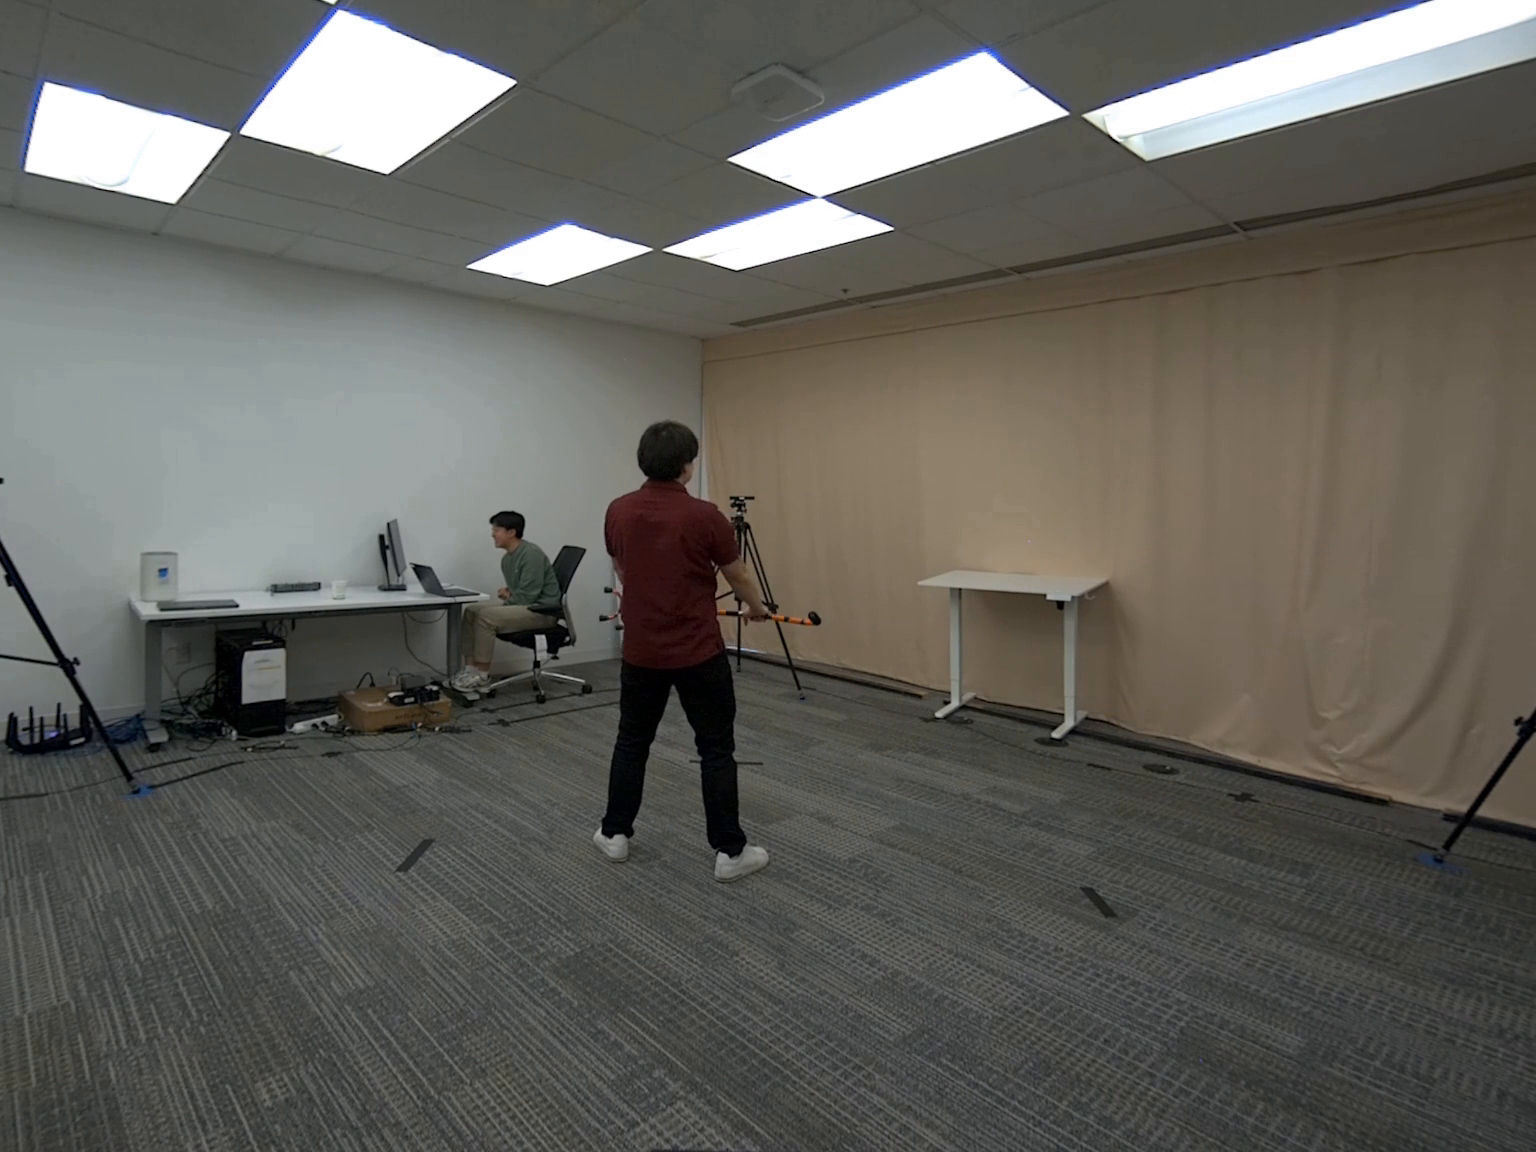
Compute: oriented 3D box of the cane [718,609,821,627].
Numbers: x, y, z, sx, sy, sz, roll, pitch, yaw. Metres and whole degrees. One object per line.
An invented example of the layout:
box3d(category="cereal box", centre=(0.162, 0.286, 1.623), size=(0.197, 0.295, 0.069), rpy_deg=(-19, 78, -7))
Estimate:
box3d(category="cane", centre=(-0.236, 0.157, 3.479), size=(0.920, 0.153, 0.202), rpy_deg=(2, -13, 17))
